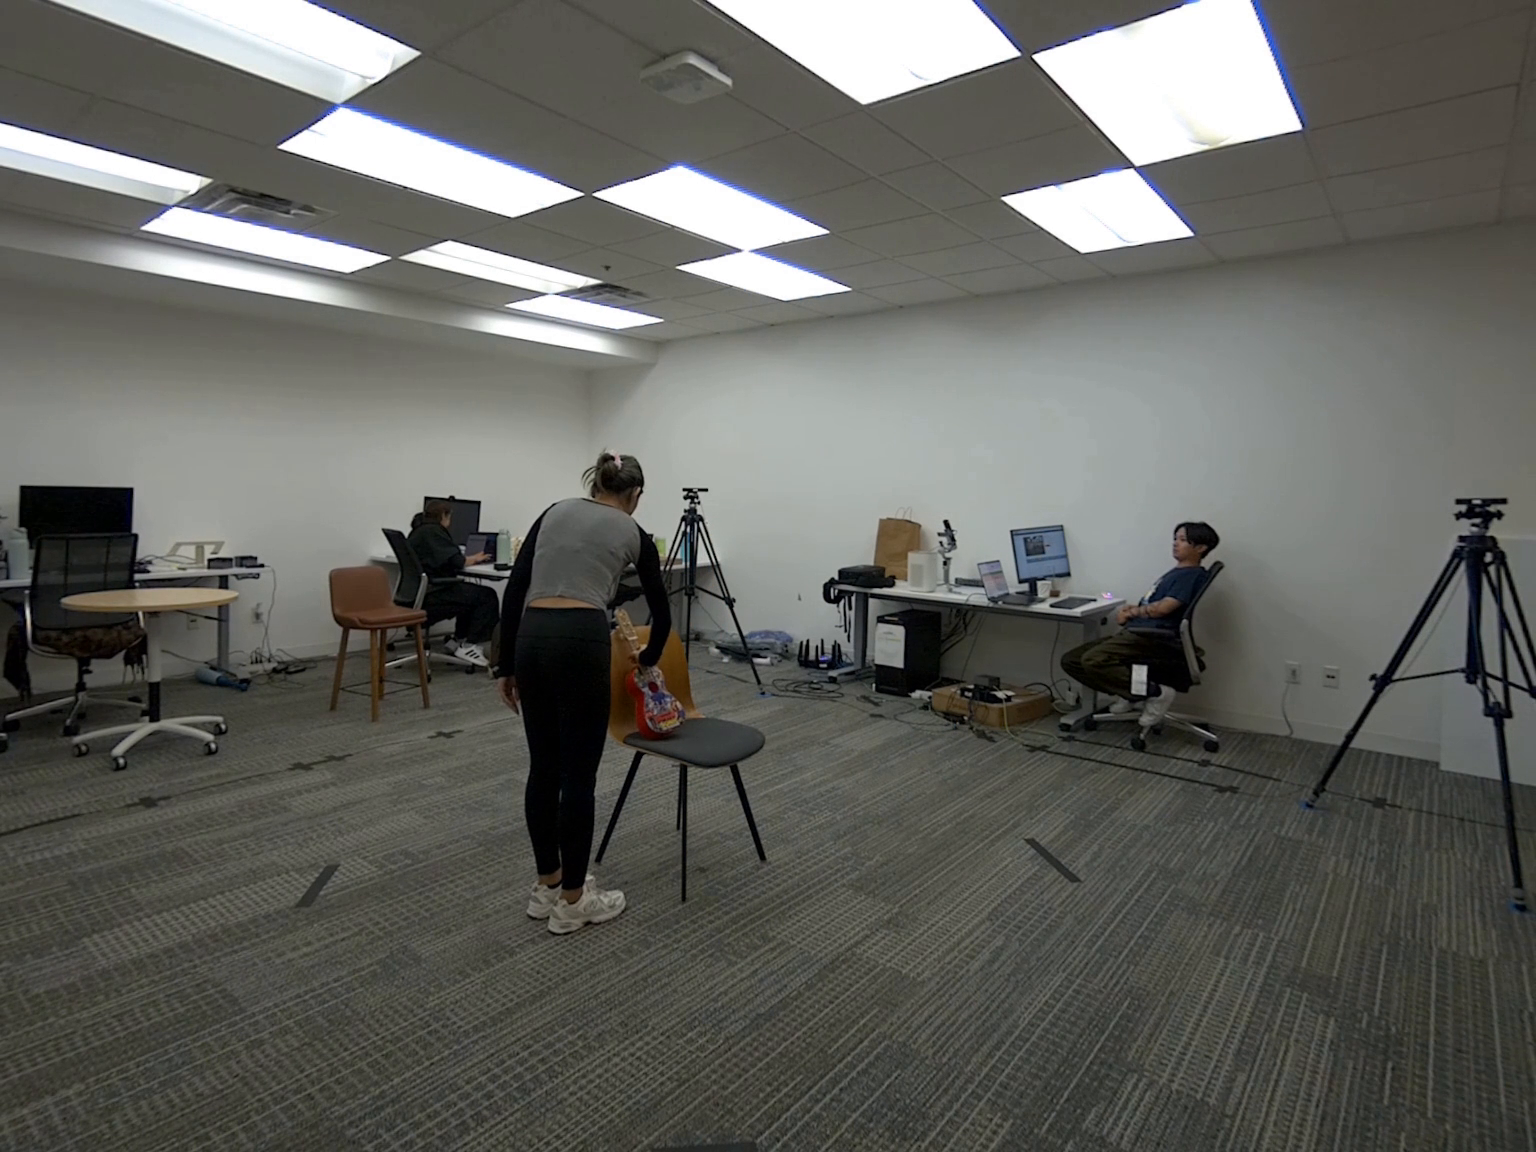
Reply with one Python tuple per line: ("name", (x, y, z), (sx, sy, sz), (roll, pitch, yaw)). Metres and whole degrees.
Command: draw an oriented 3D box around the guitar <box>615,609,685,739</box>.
("guitar", (-0.453, 0.356, 3.204), (0.186, 0.511, 0.071), (4, -32, -43))
